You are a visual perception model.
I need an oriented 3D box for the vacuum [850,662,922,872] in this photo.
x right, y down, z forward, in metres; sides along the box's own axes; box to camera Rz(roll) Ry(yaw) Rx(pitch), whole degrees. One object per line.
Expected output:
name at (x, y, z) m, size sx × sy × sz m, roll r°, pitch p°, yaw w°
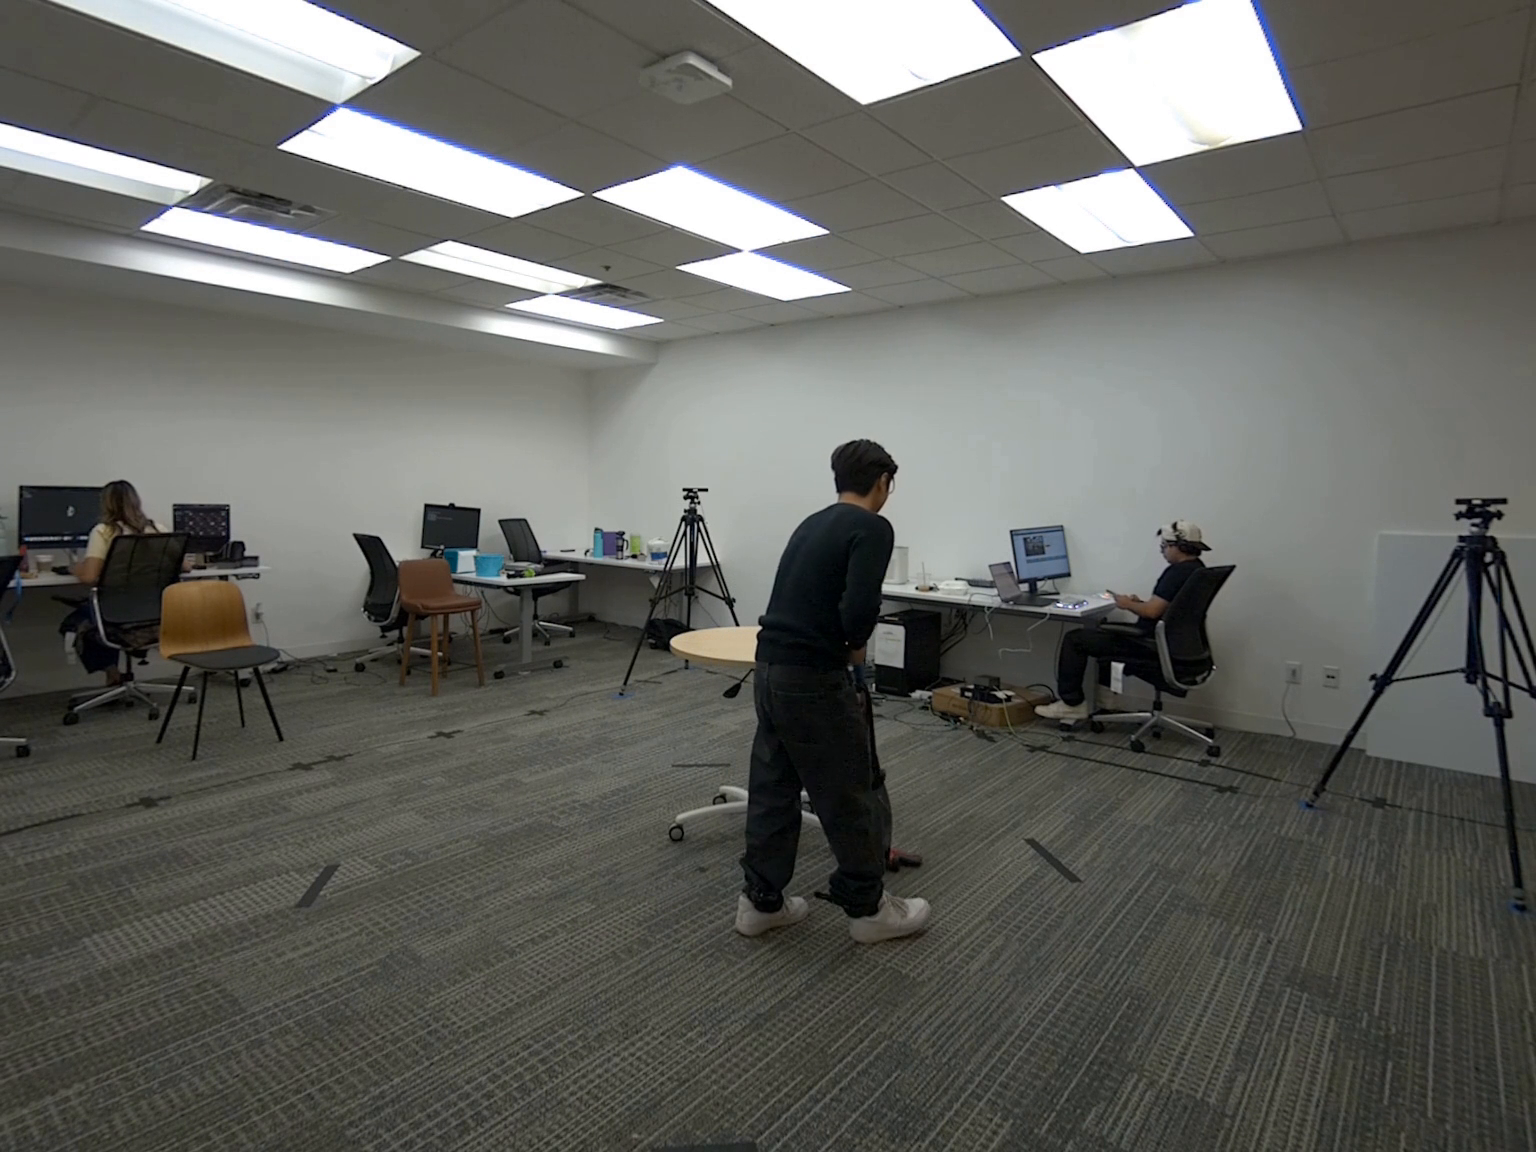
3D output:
vacuum at (0.342, 0.644, 2.948) m, size 0.260 × 1.017 × 0.144 m, roll 5°, pitch 35°, yaw 28°
